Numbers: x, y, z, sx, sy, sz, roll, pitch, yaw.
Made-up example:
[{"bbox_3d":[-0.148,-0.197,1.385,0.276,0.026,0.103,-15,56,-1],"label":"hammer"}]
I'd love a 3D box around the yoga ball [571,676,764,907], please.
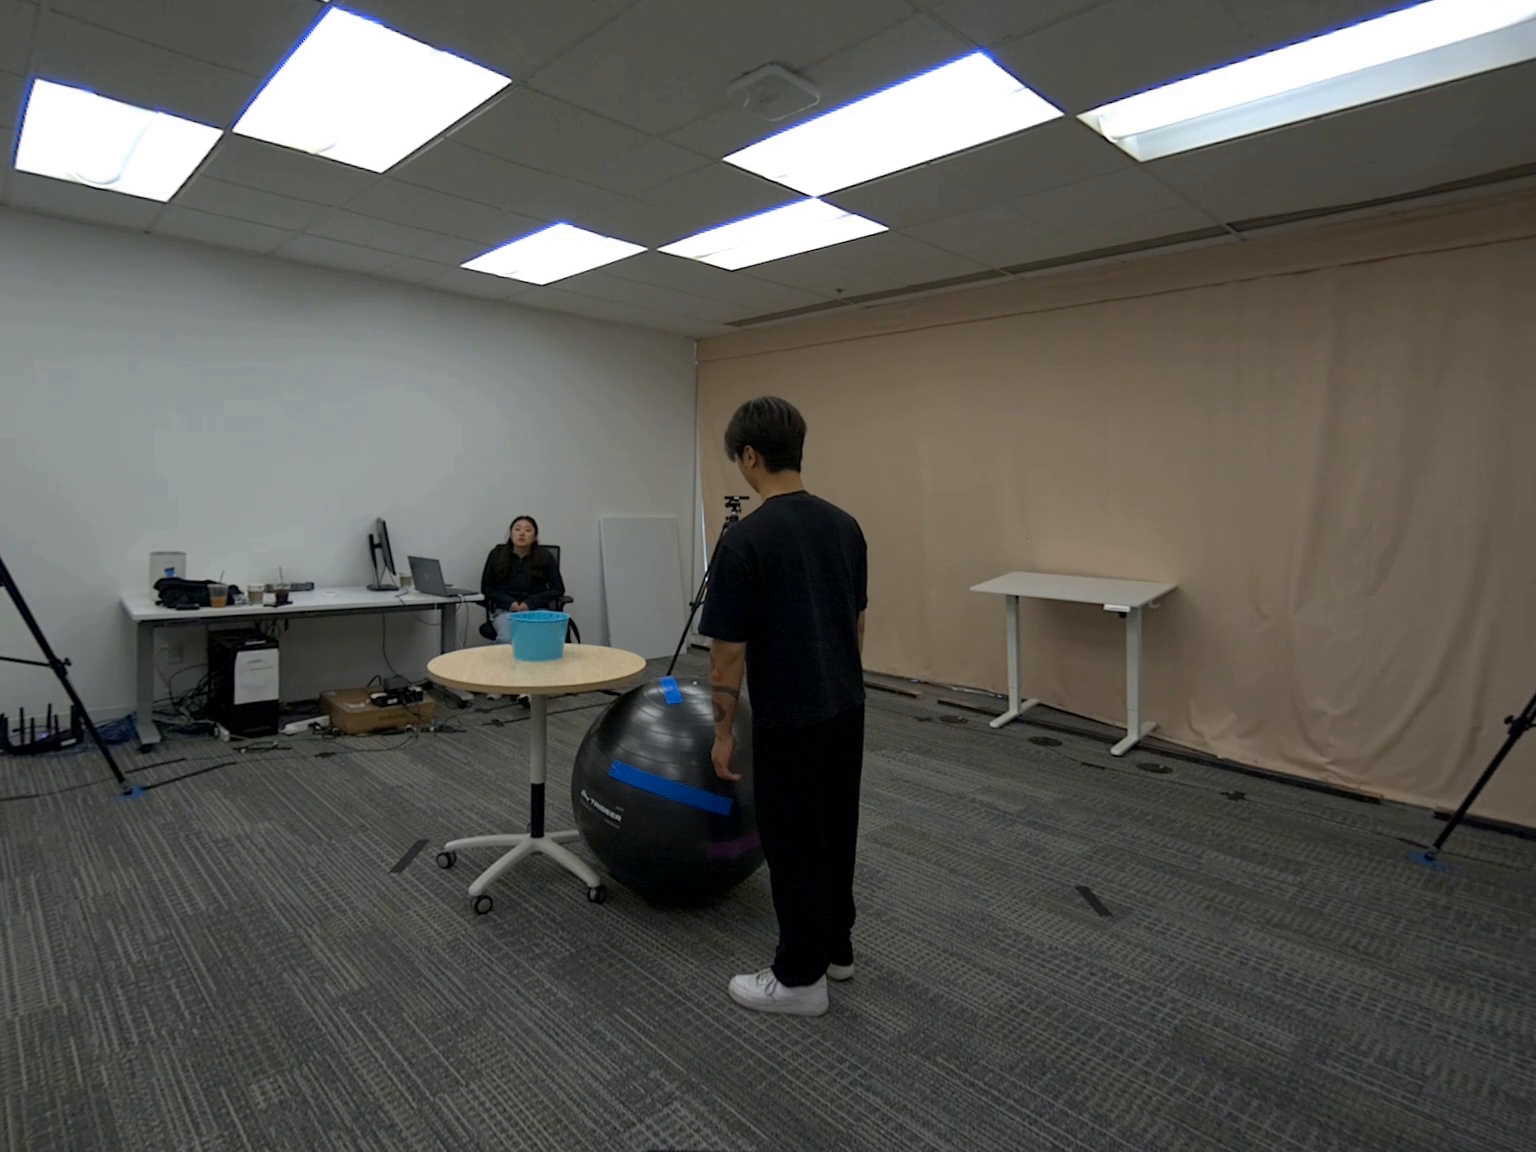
[{"bbox_3d":[-0.303,0.740,2.949,0.757,0.756,0.761,1,4,-1],"label":"yoga ball"}]
